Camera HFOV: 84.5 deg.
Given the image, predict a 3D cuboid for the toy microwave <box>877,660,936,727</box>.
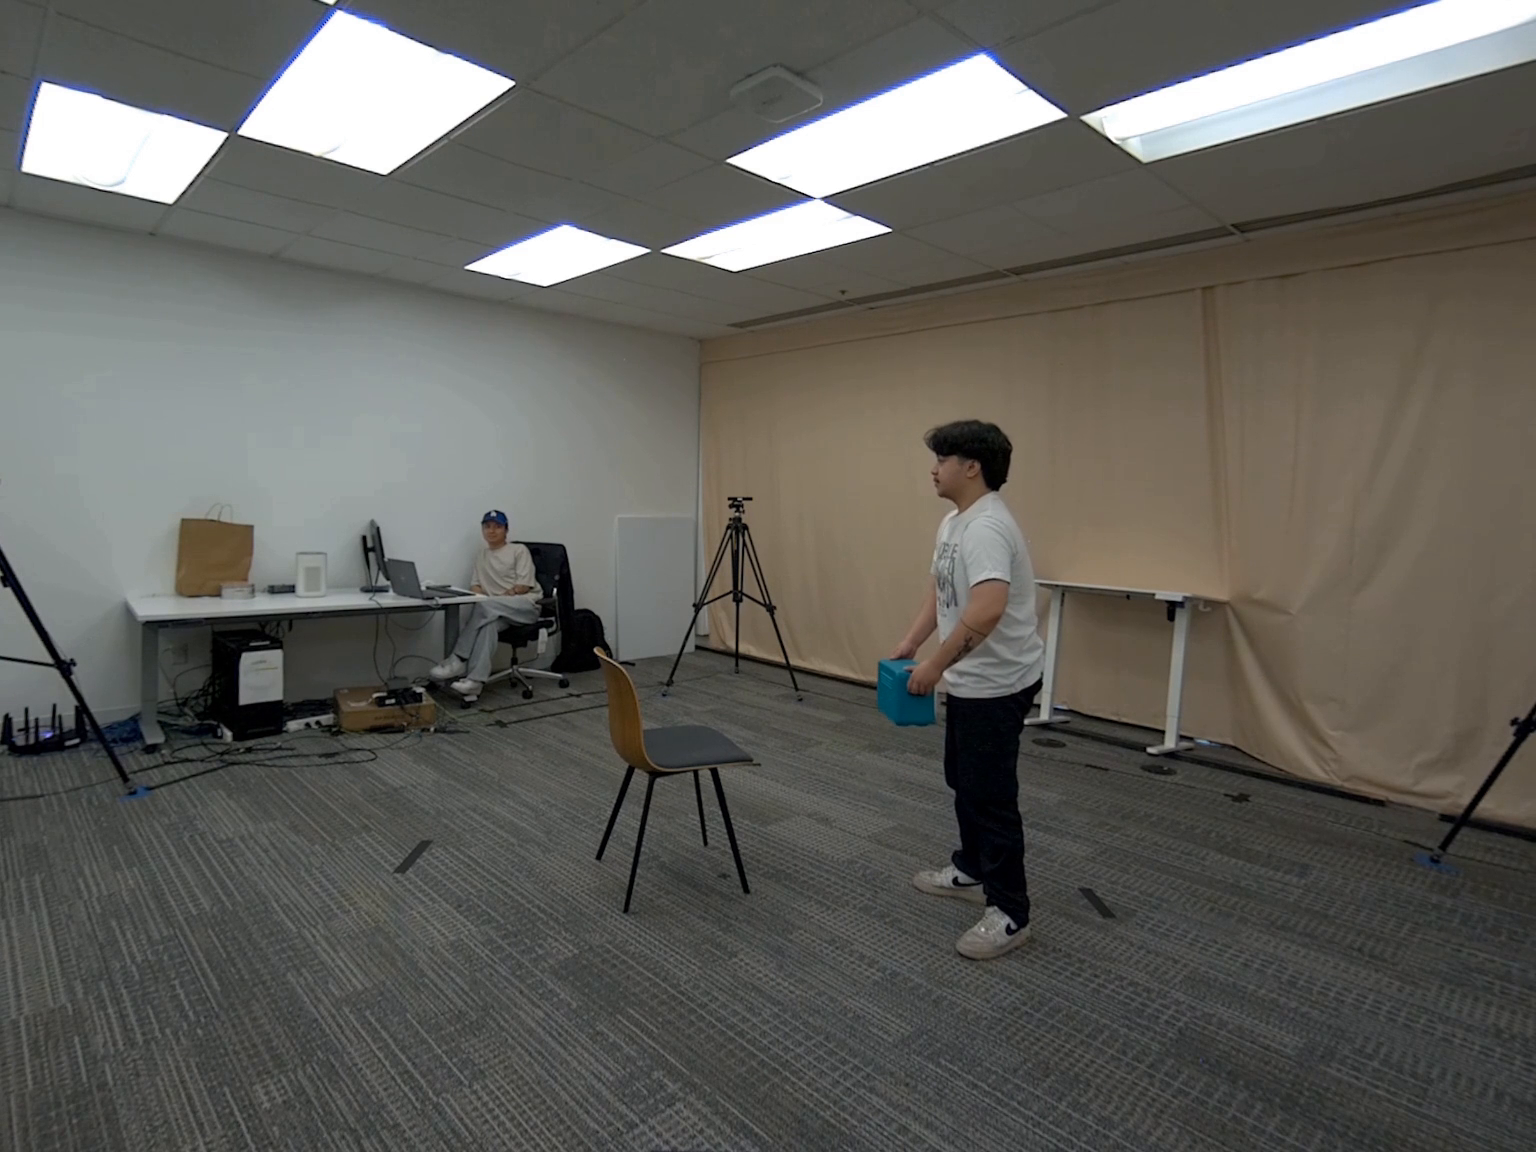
[{"bbox_3d":[0.473,0.400,2.833,0.152,0.184,0.287,-1,2,-5],"label":"toy microwave"}]
